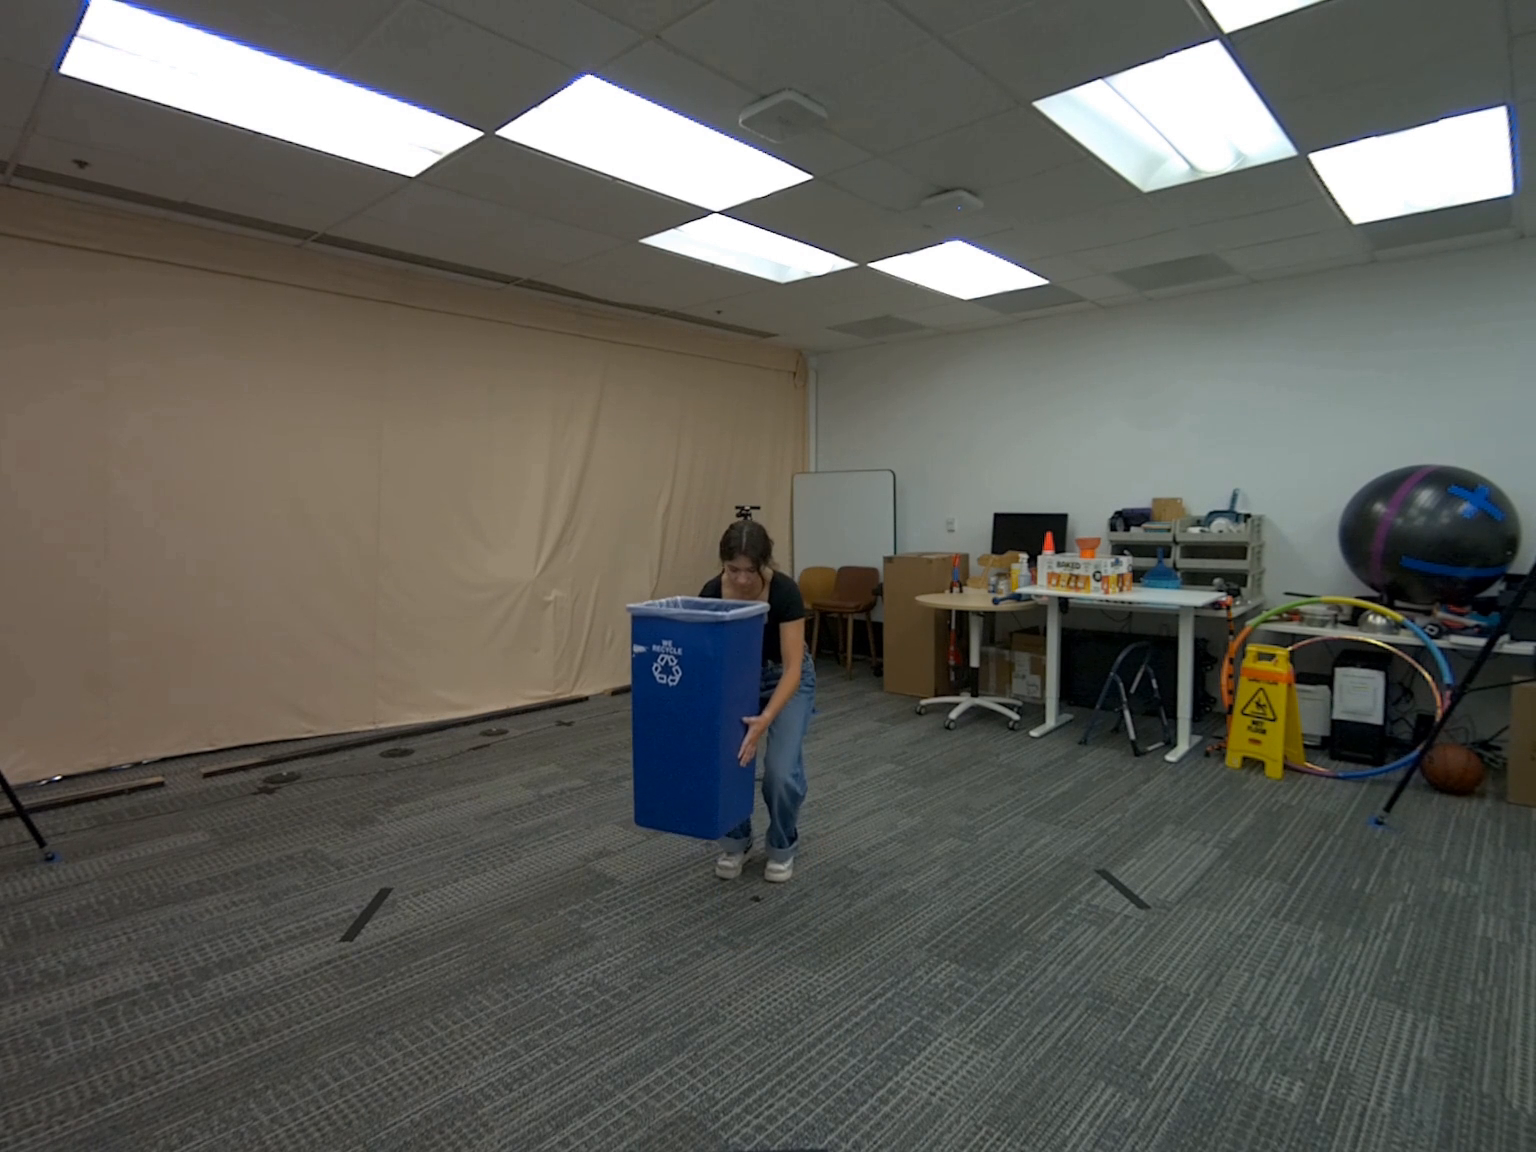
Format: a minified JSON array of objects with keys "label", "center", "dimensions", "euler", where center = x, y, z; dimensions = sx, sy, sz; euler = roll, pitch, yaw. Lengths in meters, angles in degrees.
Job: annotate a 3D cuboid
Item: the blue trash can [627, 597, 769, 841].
[{"label":"blue trash can","center":[-0.226,0.447,2.773],"dimensions":[0.383,0.712,0.369],"euler":[2,3,24]}]
